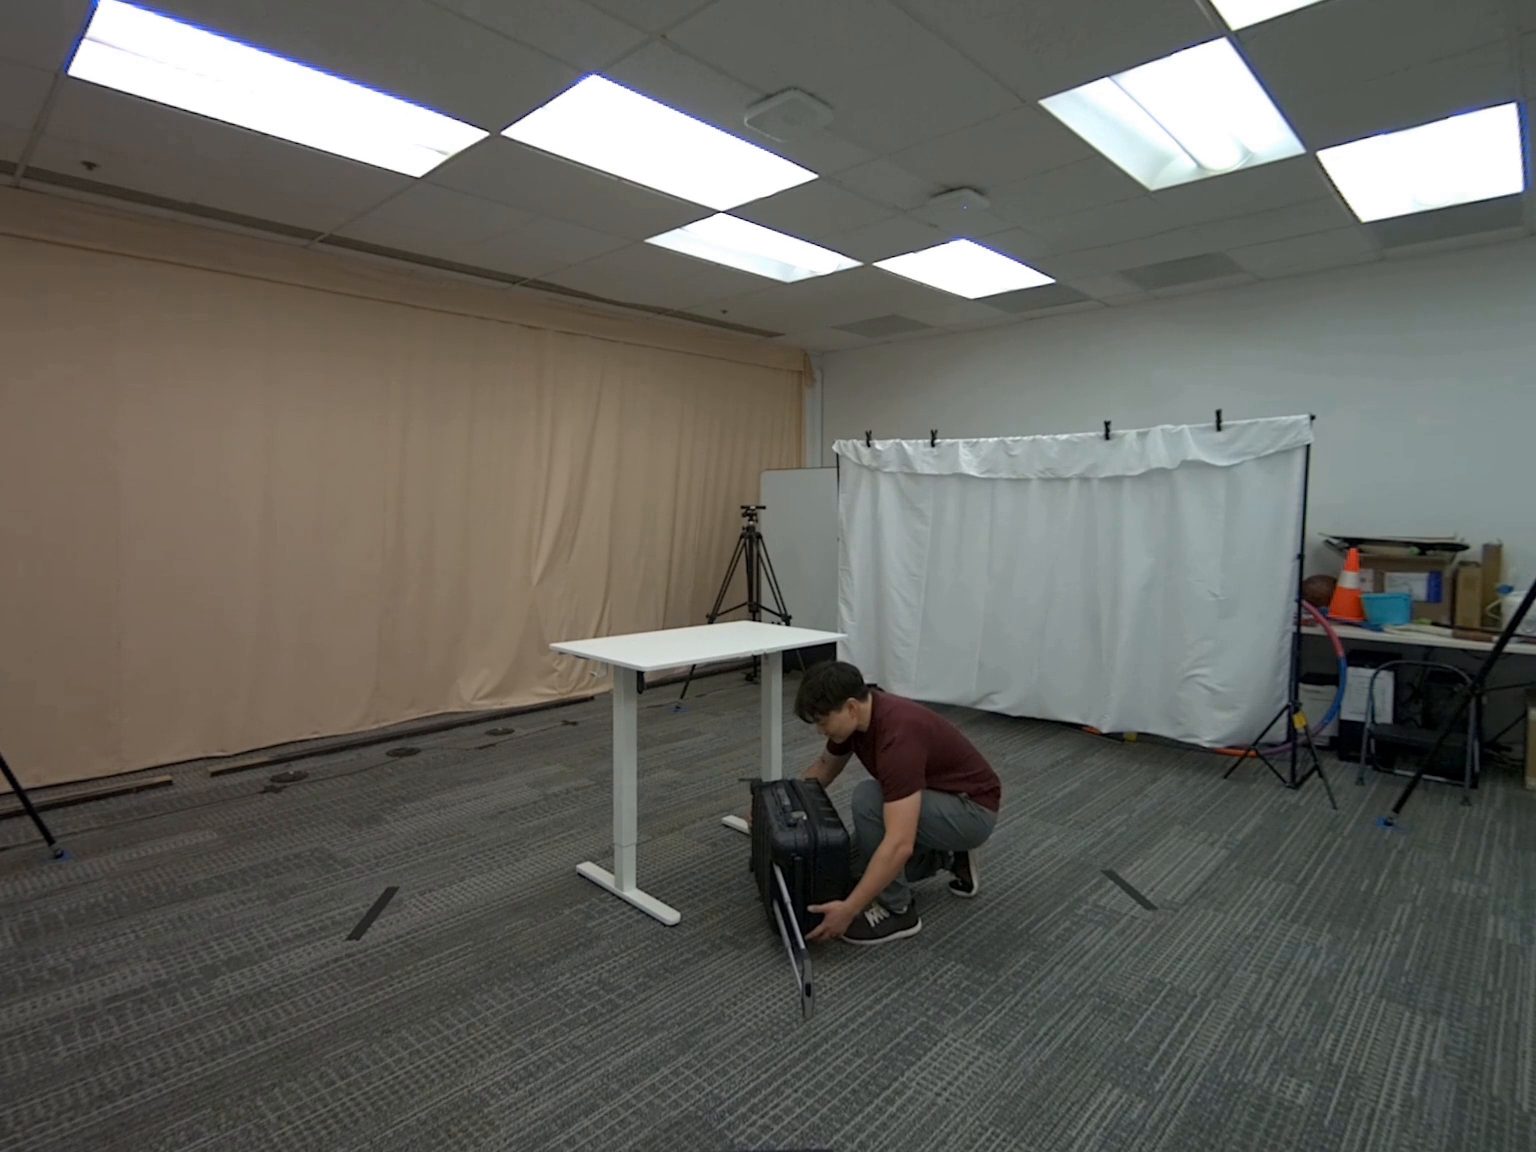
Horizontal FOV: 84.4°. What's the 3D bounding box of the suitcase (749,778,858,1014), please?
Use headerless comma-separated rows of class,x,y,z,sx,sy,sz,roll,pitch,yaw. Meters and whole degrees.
suitcase,0.130,0.940,2.579,0.255,0.382,0.990,-1,7,-9
